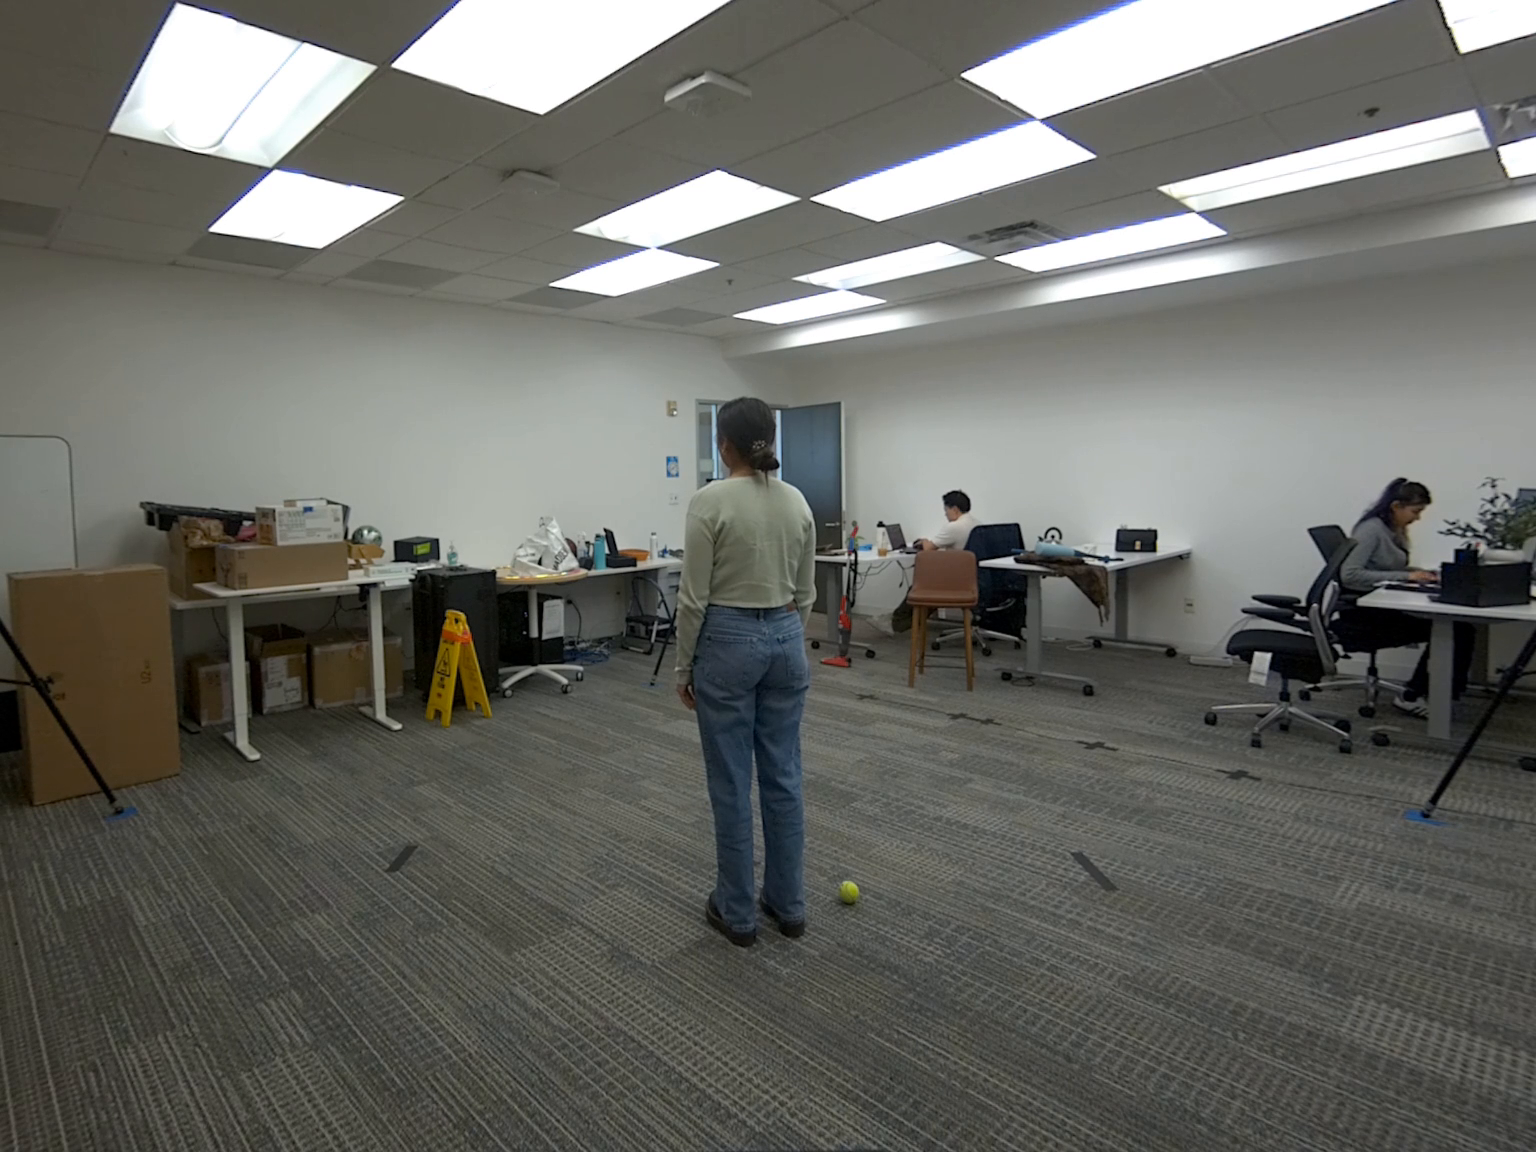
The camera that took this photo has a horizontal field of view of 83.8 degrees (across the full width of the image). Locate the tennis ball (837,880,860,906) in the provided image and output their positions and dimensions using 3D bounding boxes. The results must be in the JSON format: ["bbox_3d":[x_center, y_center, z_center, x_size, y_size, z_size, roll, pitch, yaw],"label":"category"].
[{"bbox_3d":[0.278,1.028,2.806,0.066,0.066,0.067,-1,5,-2],"label":"tennis ball"}]
